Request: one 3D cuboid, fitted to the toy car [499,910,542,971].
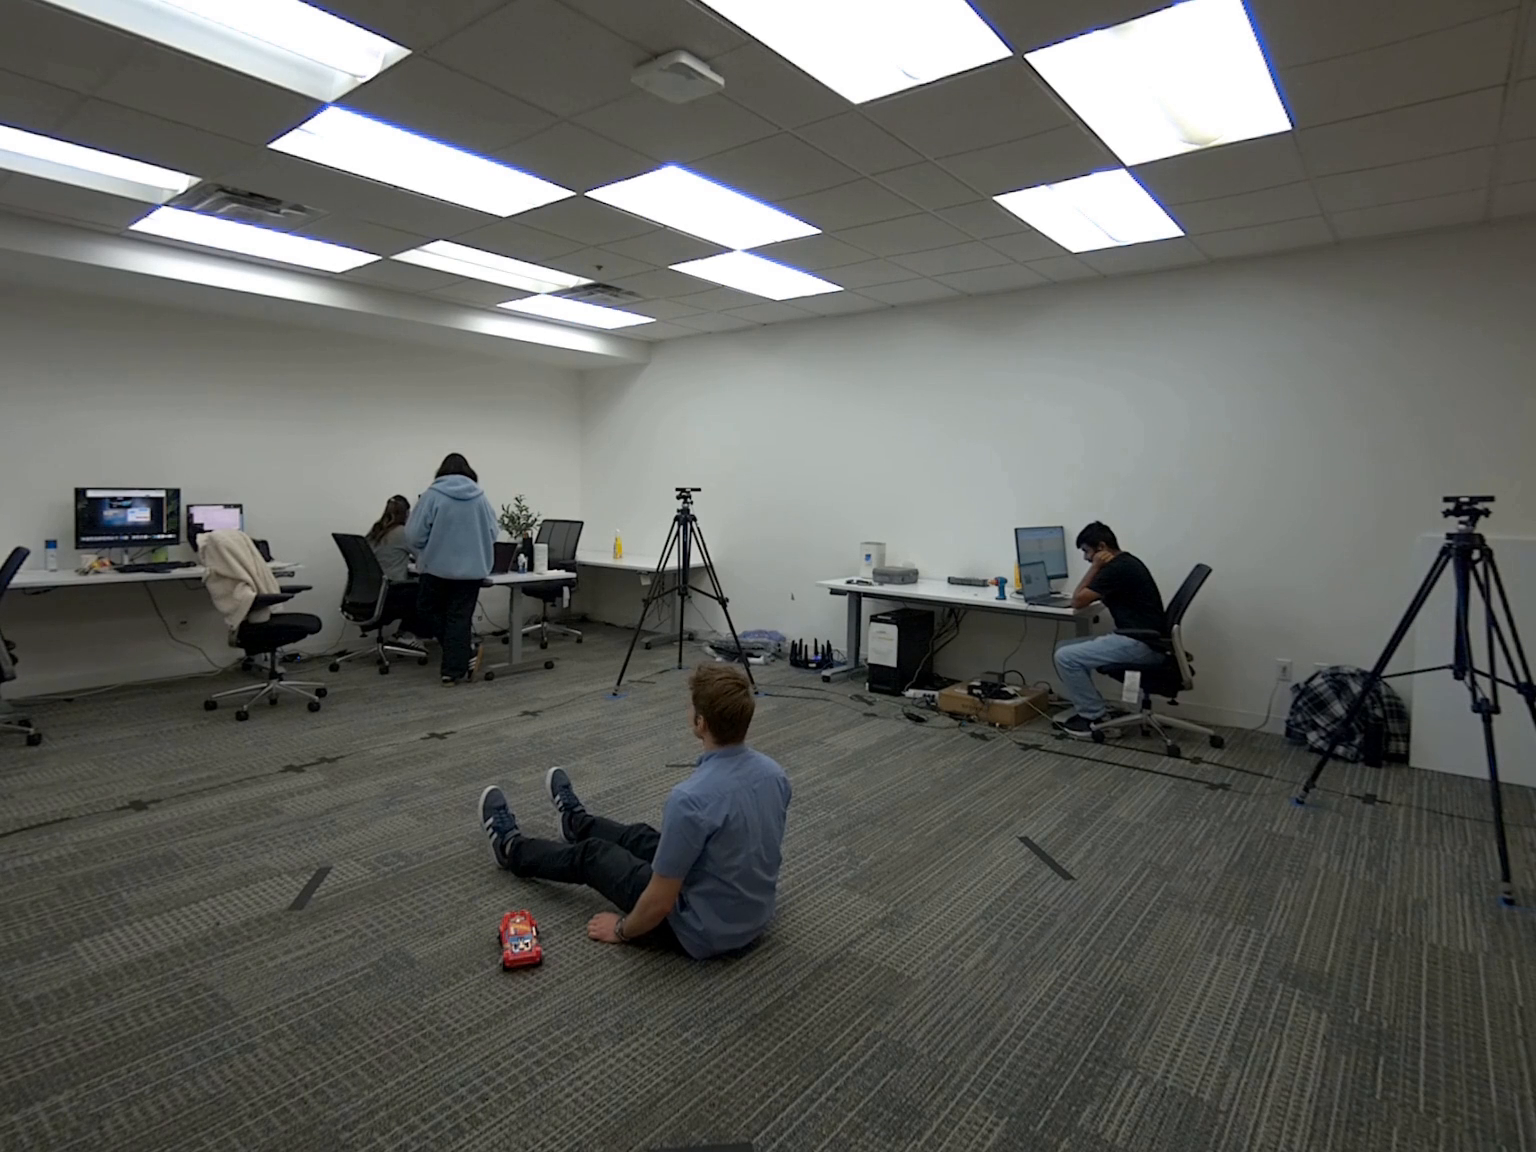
[{"bbox_3d":[-0.759,1.092,2.535,0.127,0.082,0.263,-3,16,-22],"label":"toy car"}]
